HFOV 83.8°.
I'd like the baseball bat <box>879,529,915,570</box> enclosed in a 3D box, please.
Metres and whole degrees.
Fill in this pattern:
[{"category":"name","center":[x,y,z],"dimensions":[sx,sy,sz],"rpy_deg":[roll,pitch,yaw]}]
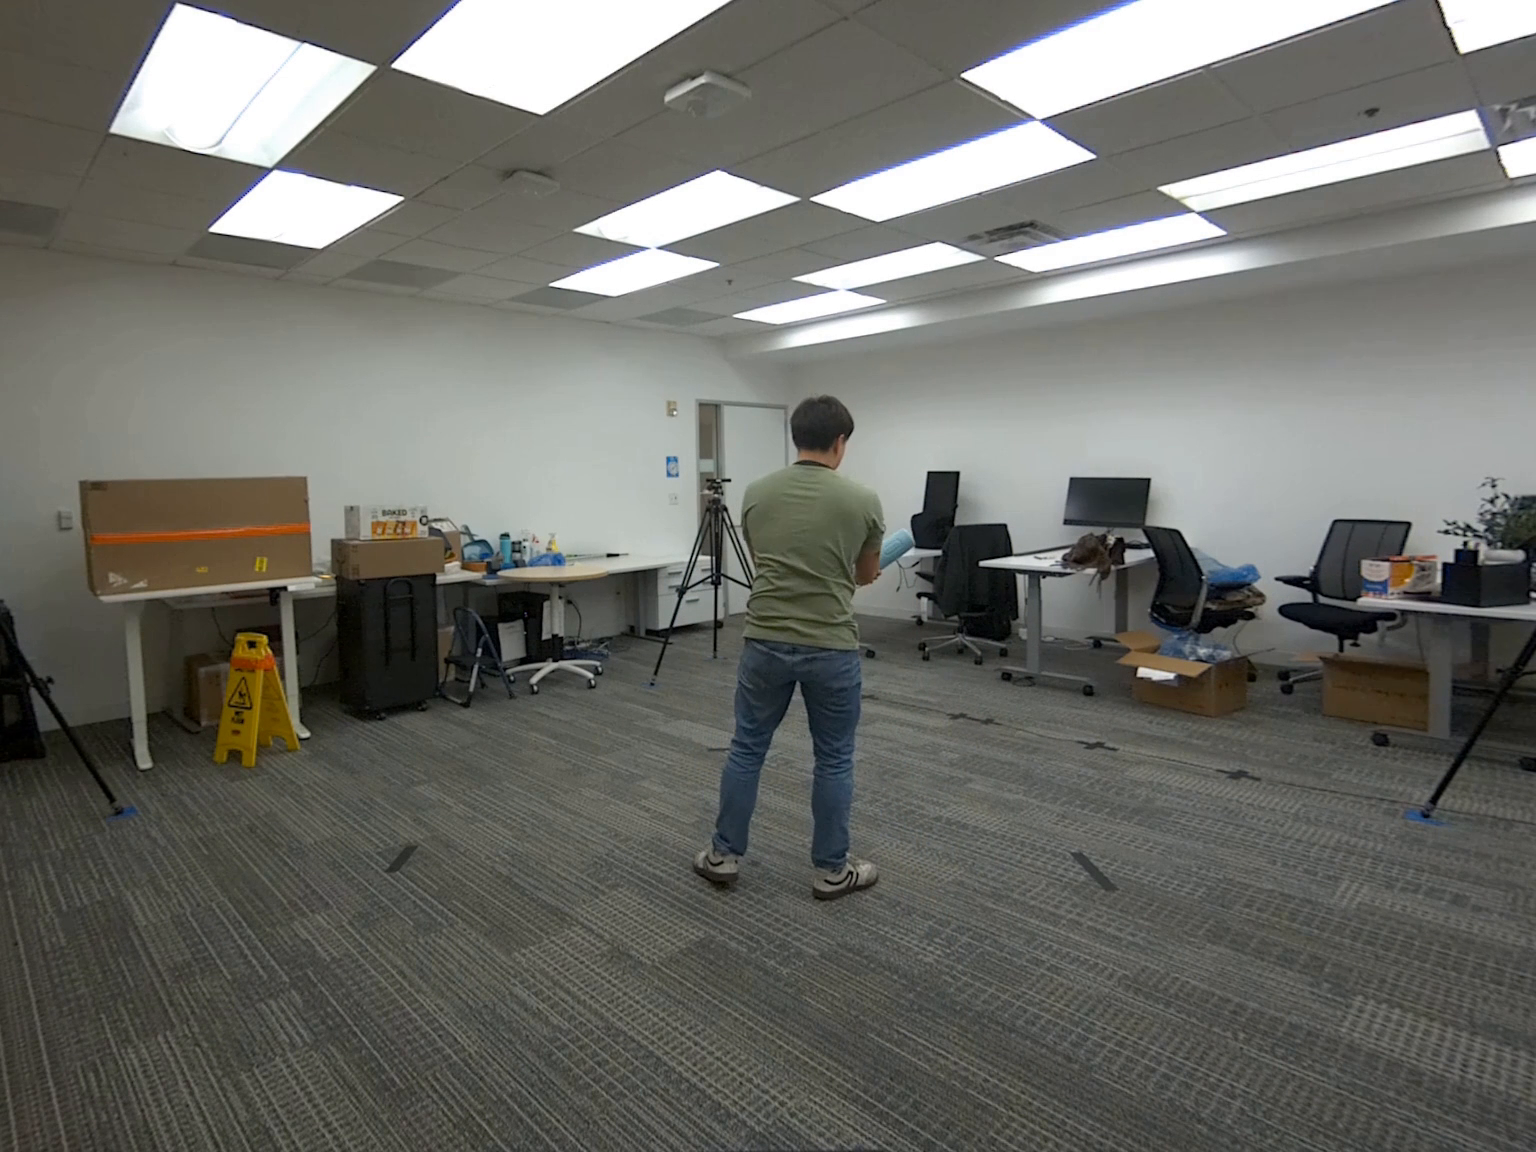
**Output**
[{"category":"baseball bat","center":[0.338,0.007,3.301],"dimensions":[0.543,0.088,0.089],"rpy_deg":[-37,5,1]}]
